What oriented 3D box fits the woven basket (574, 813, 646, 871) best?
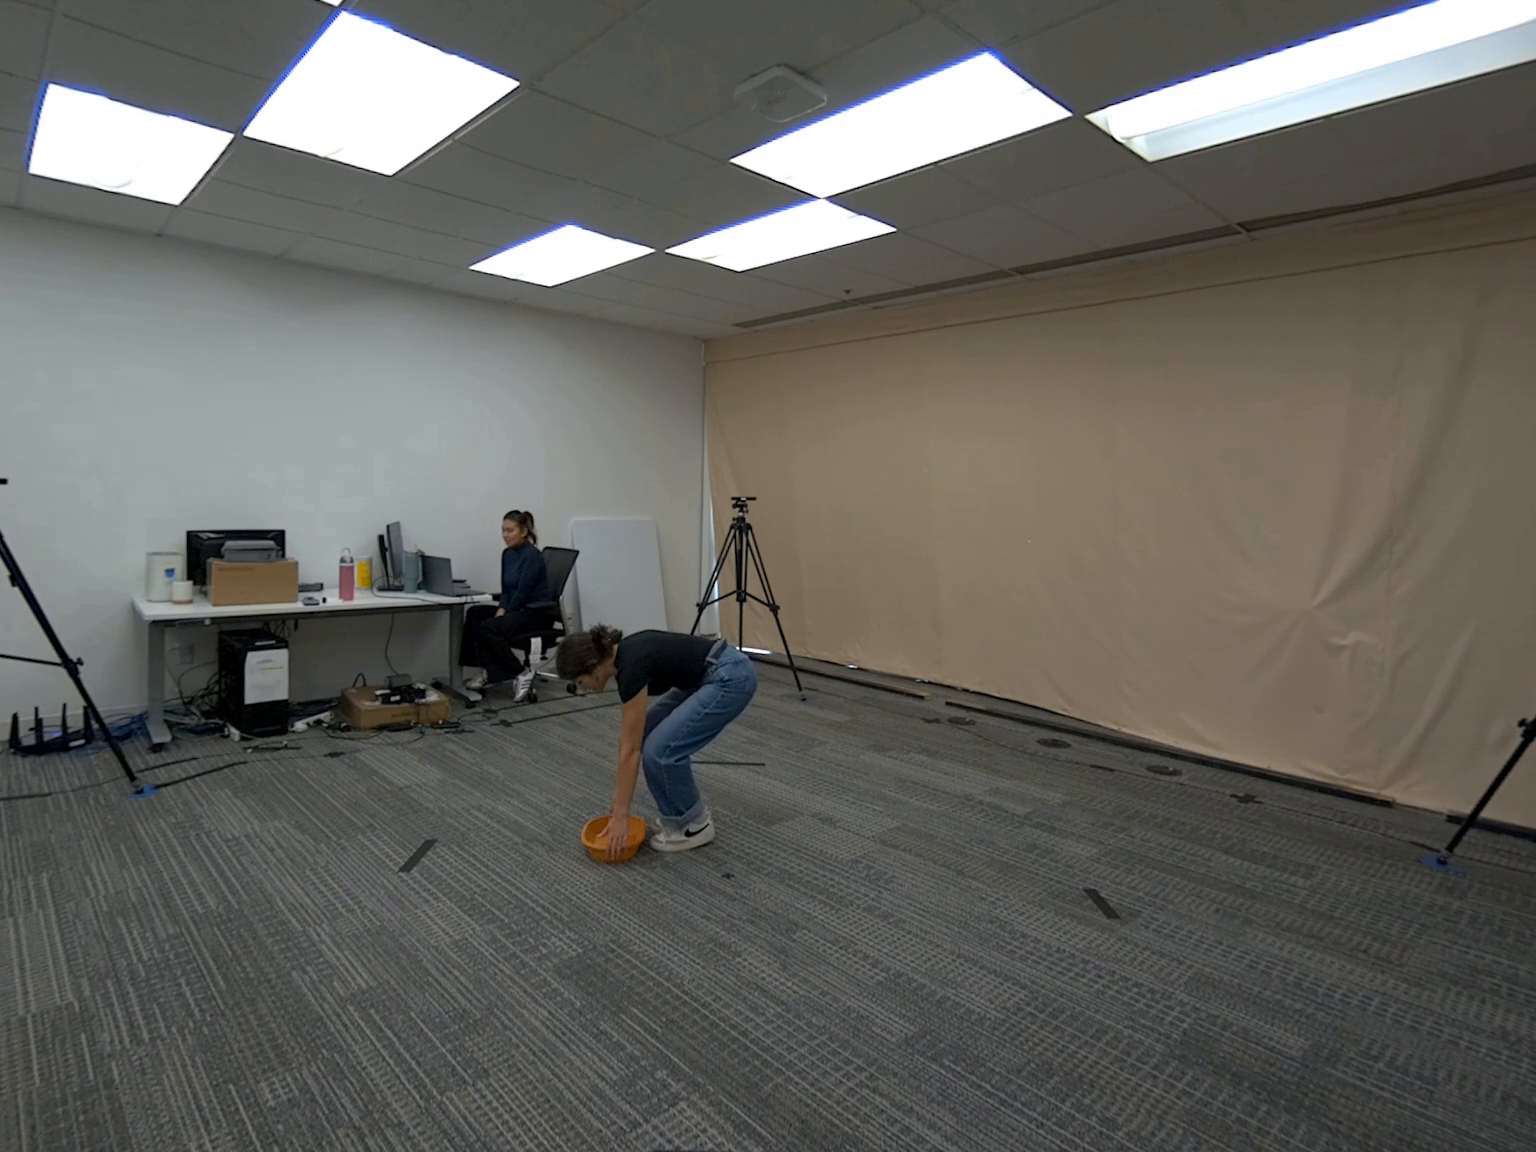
[{"bbox_3d":[-0.616,1.039,3.331,0.251,0.073,0.353,-1,5,-6],"label":"woven basket"}]
